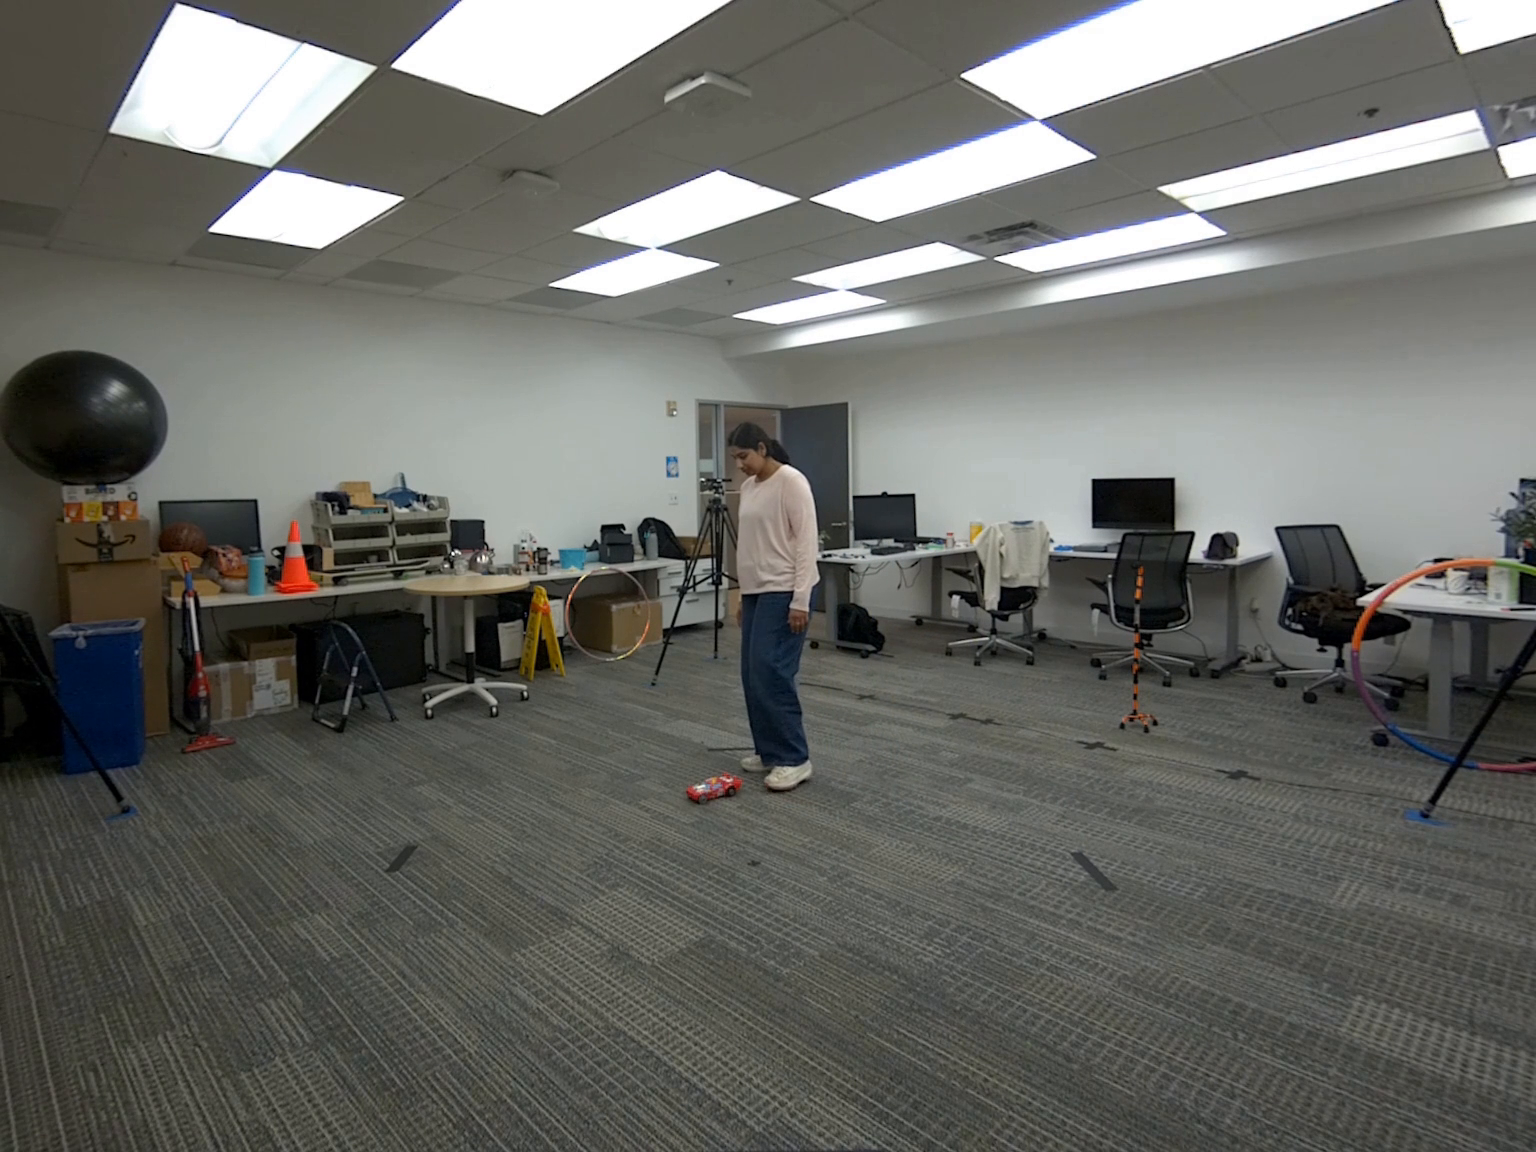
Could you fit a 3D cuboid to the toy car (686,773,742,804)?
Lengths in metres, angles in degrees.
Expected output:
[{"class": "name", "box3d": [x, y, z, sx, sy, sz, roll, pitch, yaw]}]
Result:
[{"class": "toy car", "box3d": [-0.233, 0.941, 3.781, 0.250, 0.082, 0.134, -18, 13, -30]}]
